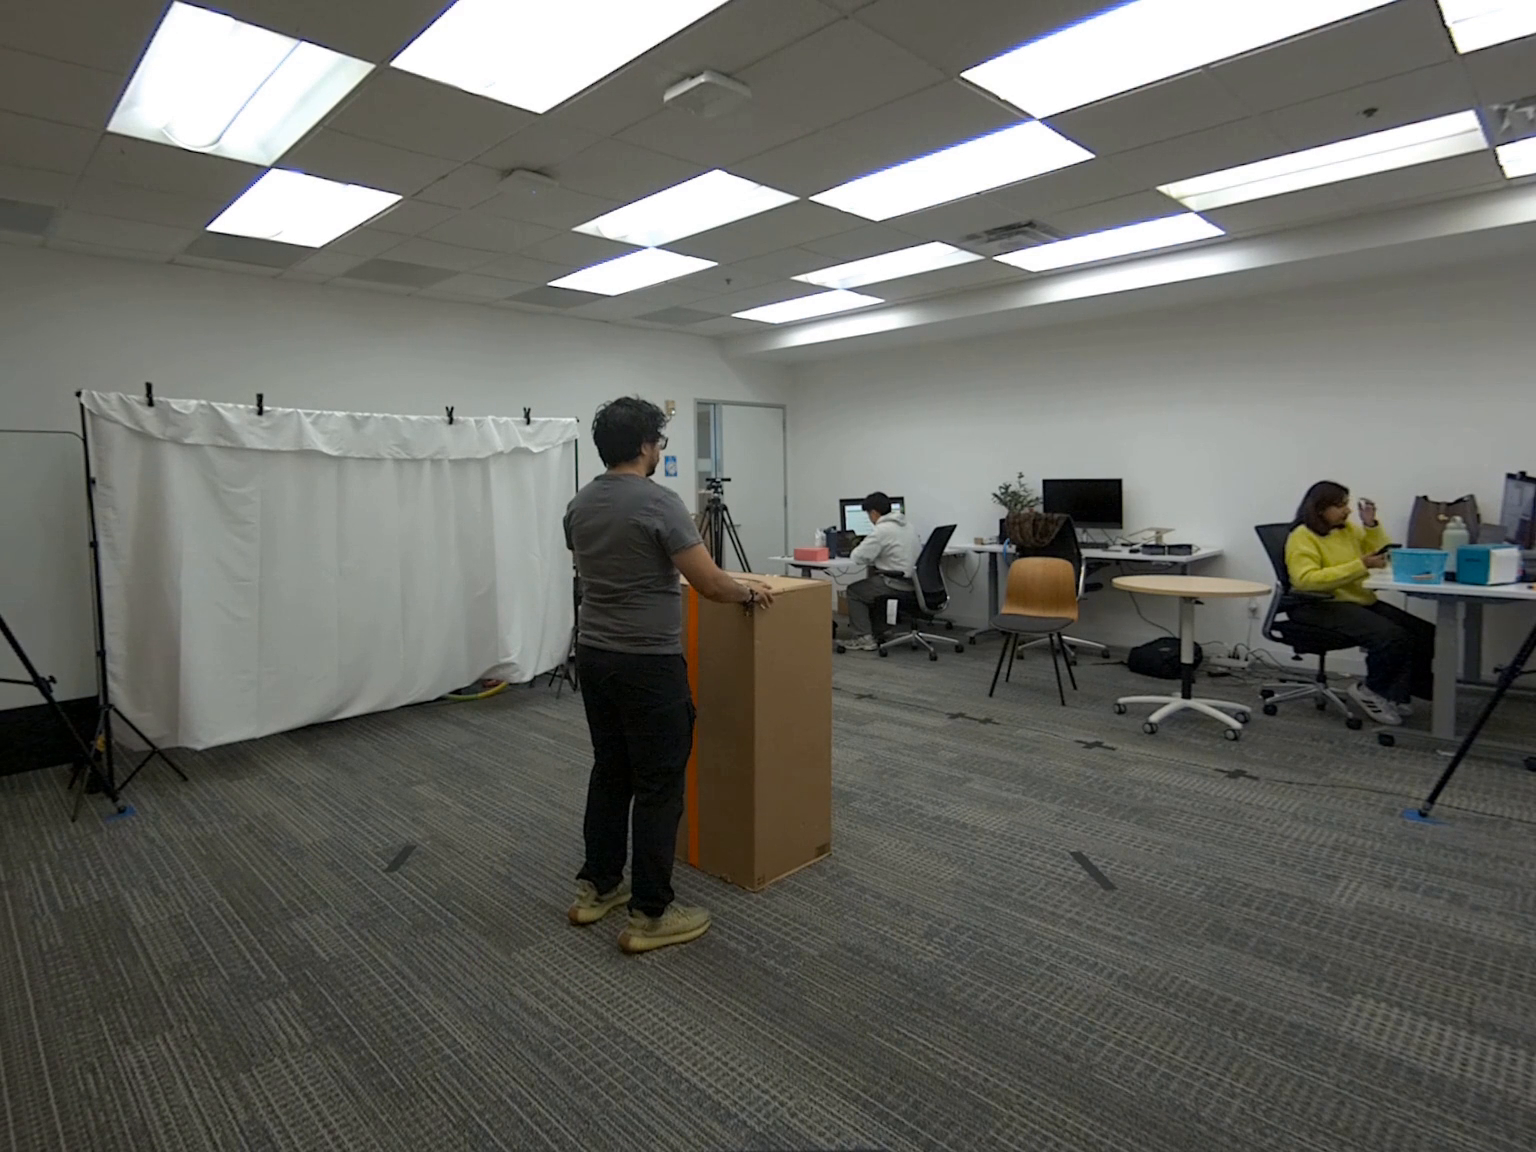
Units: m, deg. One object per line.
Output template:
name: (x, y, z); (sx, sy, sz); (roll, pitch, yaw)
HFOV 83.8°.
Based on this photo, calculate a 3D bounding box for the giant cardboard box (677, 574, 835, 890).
giant cardboard box: (-0.115, 0.525, 3.193); (0.595, 1.022, 0.415); (4, 6, 44)
